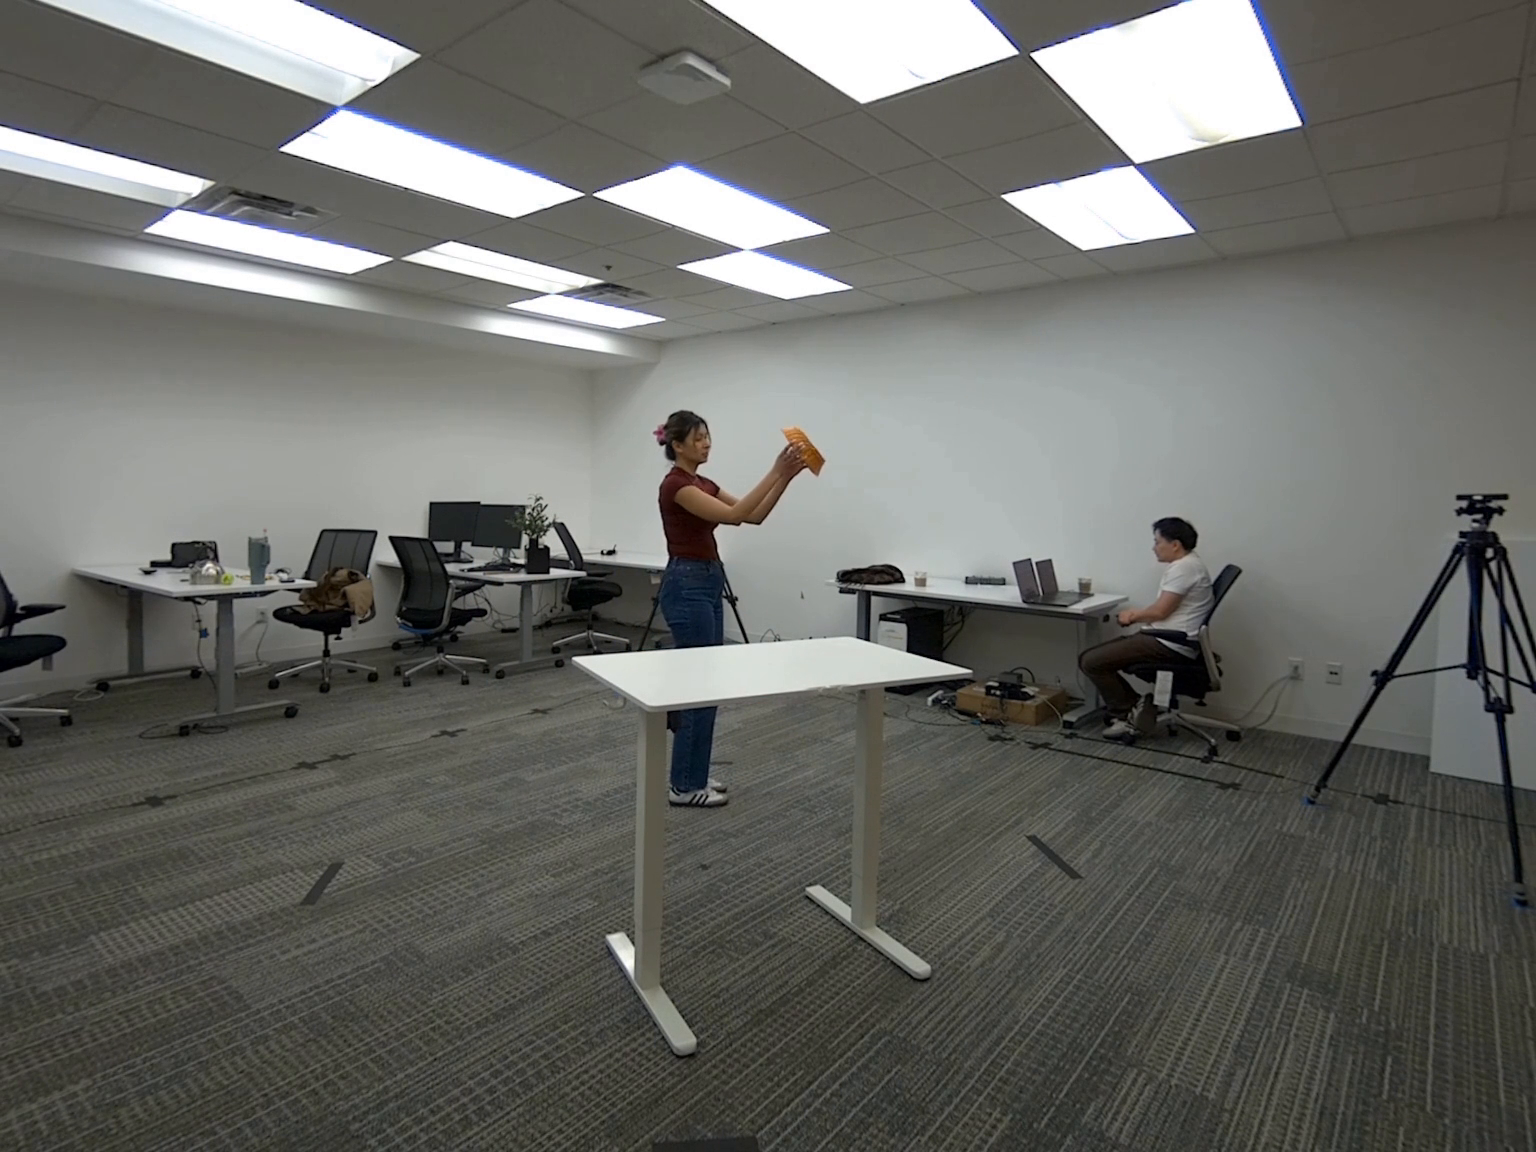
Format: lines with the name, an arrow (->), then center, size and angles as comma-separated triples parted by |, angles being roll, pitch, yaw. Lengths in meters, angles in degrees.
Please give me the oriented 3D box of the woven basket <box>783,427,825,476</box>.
woven basket -> 0.147, -0.554, 3.695 | 0.073, 0.254, 0.347 | -36, -3, 9
